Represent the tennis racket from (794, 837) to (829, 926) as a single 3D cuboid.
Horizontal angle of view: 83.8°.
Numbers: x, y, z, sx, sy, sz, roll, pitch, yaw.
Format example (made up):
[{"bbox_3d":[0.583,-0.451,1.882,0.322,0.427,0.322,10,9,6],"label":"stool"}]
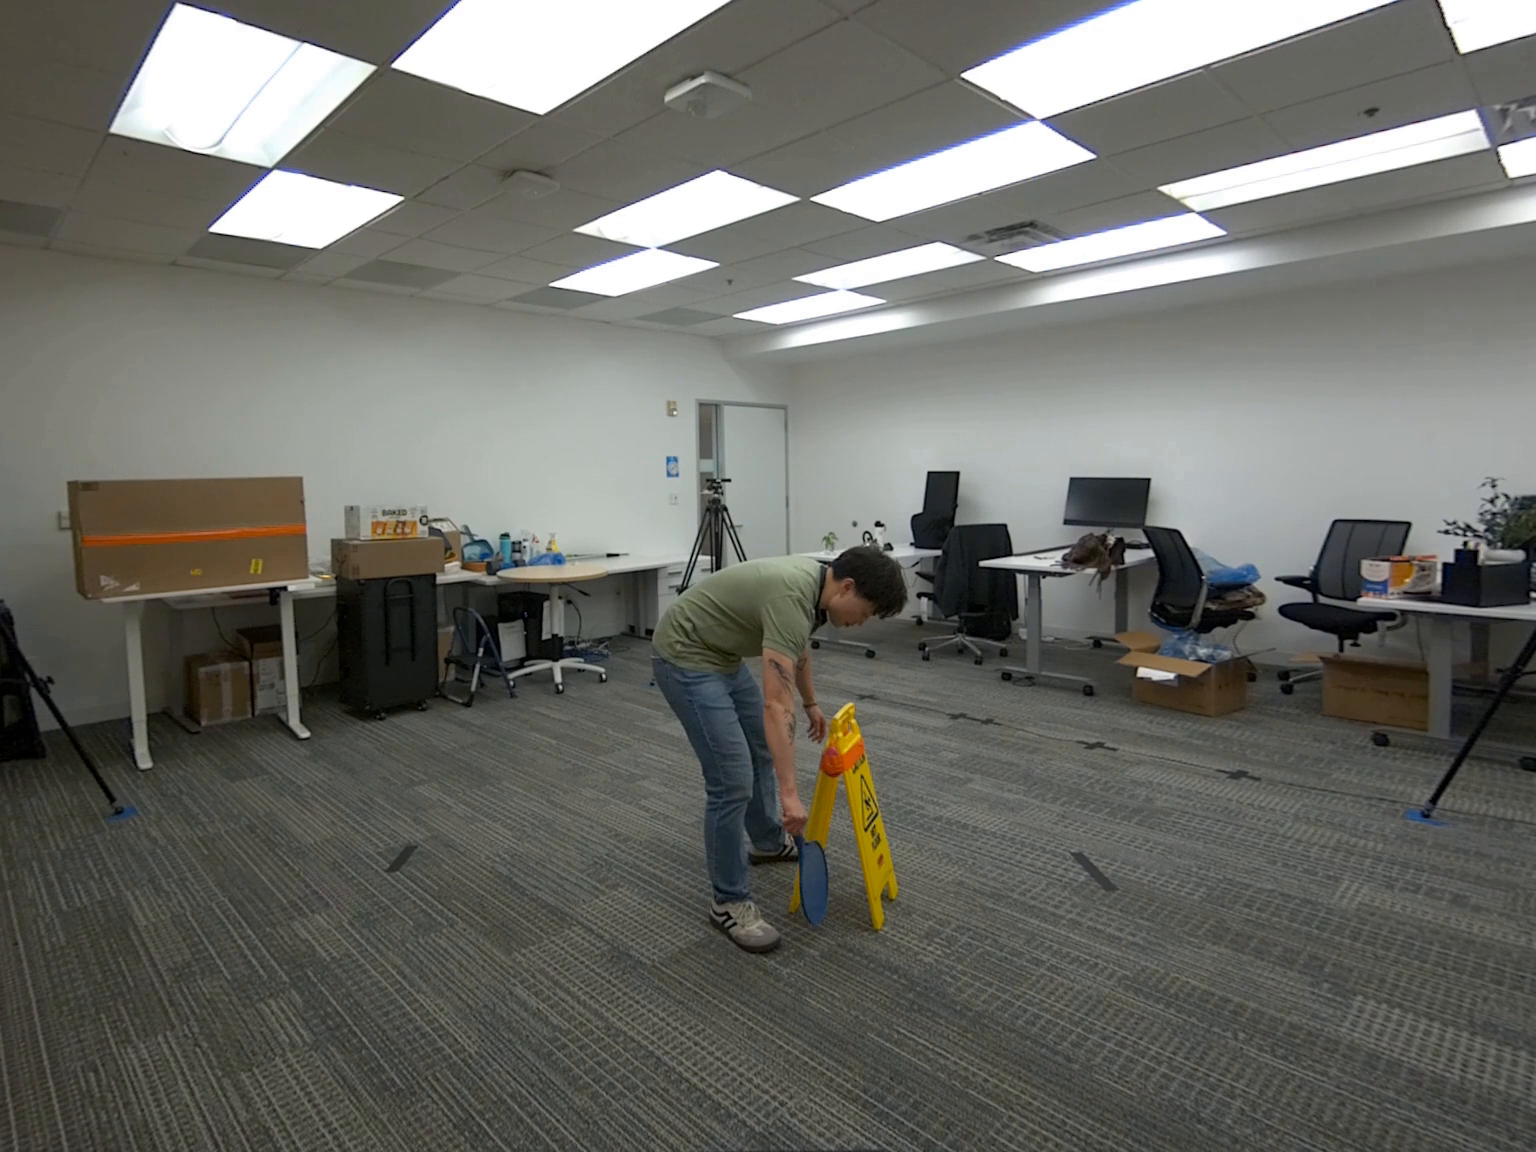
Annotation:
[{"bbox_3d":[0.118,0.842,2.493,0.032,0.422,0.216,-4,28,13],"label":"tennis racket"}]
